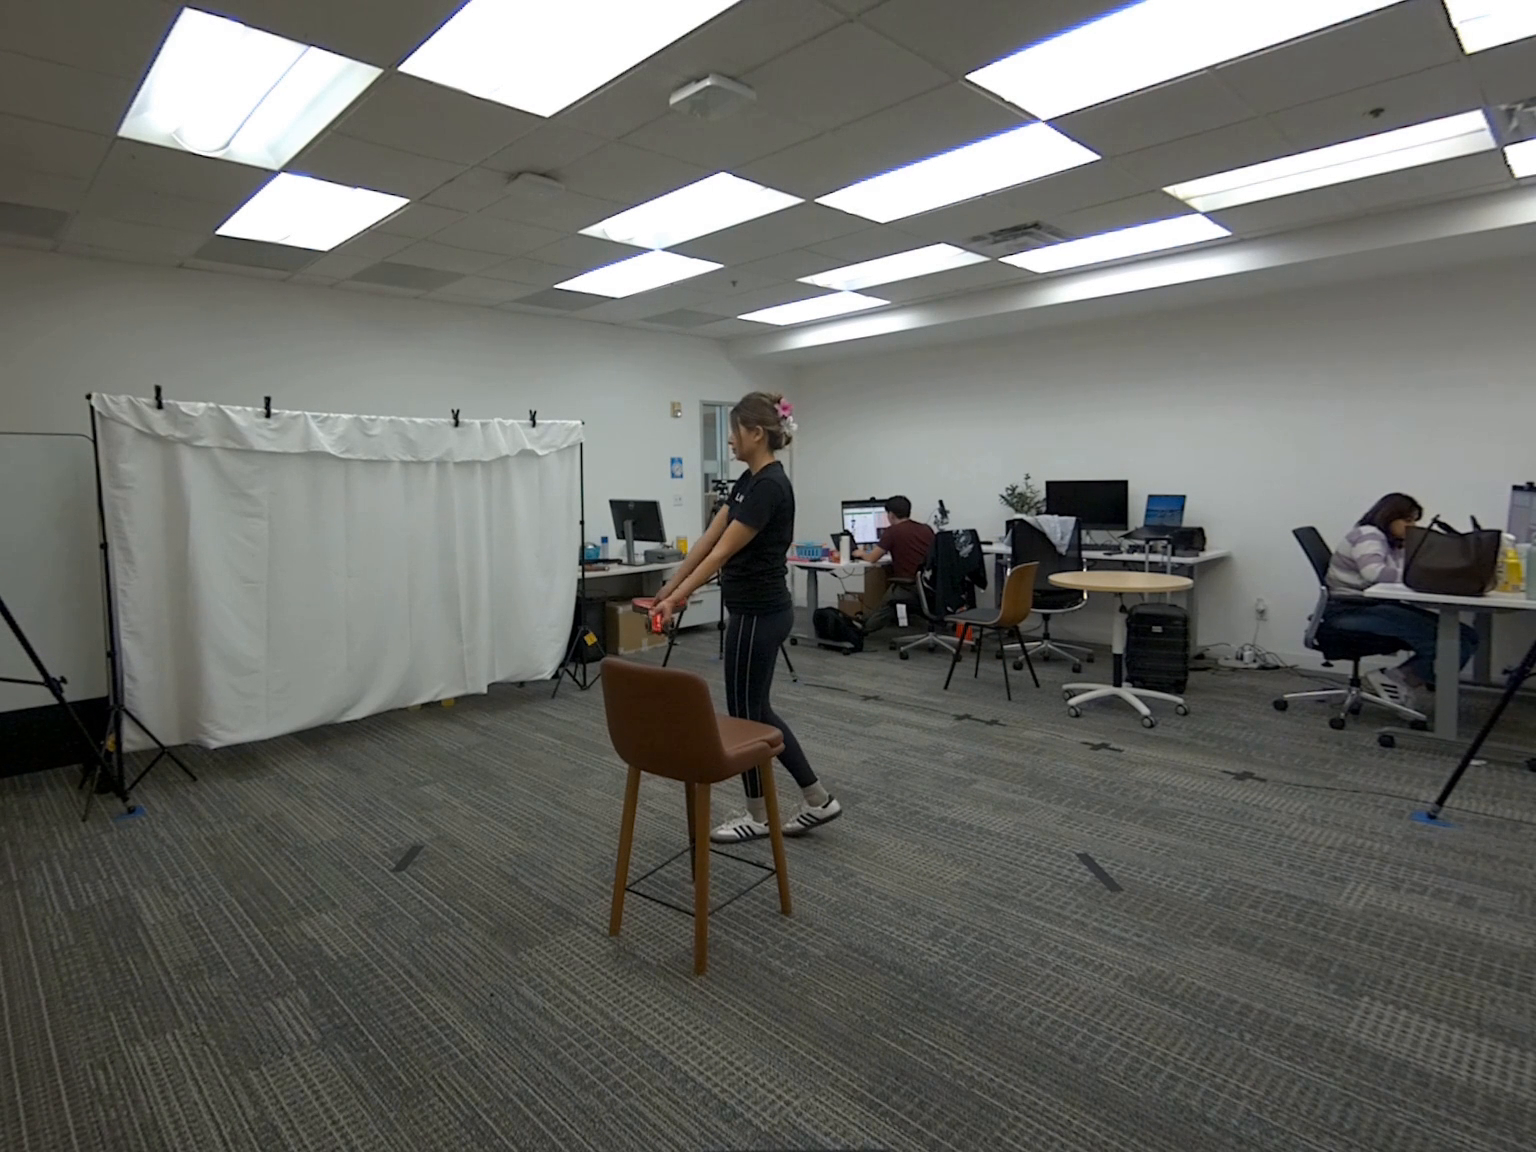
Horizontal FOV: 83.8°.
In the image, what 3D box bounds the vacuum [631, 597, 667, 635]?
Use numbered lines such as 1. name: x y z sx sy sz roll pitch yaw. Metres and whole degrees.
1. vacuum: -0.434 0.185 3.375 0.251 0.144 1.054 -1 2 -6
